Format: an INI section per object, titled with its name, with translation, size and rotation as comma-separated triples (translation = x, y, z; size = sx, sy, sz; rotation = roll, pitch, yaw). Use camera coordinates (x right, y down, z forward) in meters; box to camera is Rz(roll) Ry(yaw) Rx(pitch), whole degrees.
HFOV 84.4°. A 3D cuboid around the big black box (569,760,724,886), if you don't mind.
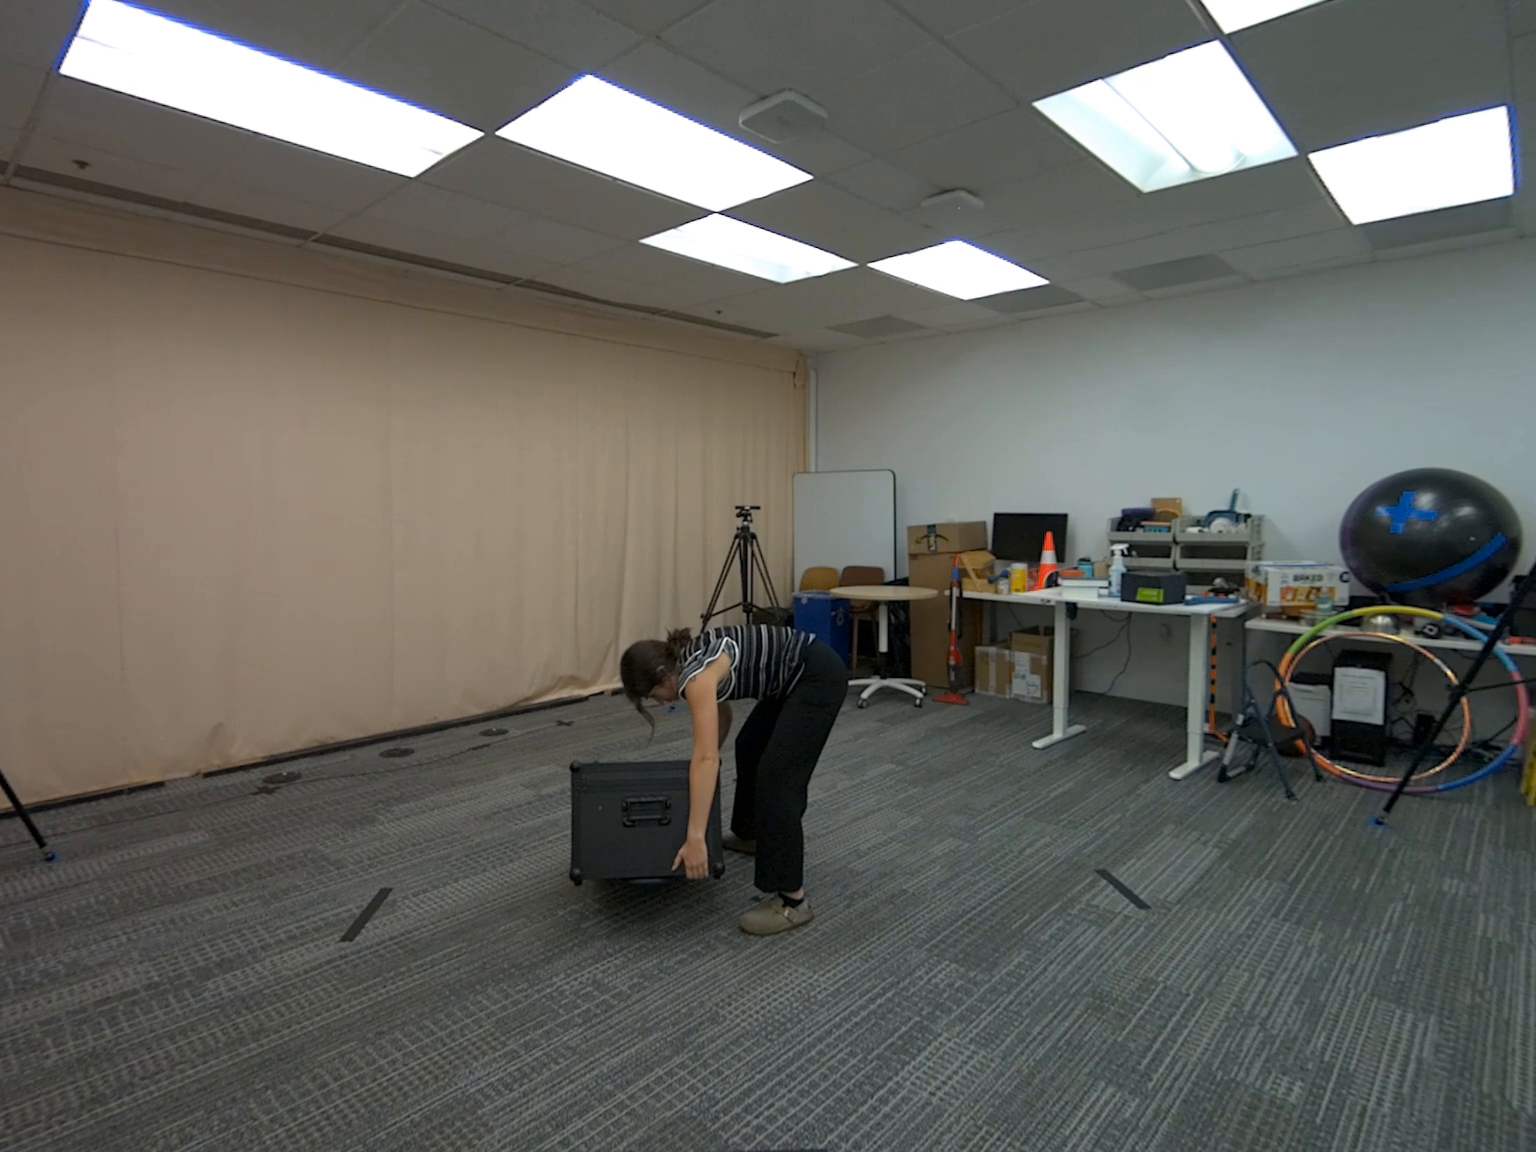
[big black box]
translation = -0.442, 0.869, 3.087
size = 0.519, 0.399, 0.858
rotation = 0, -10, -5
